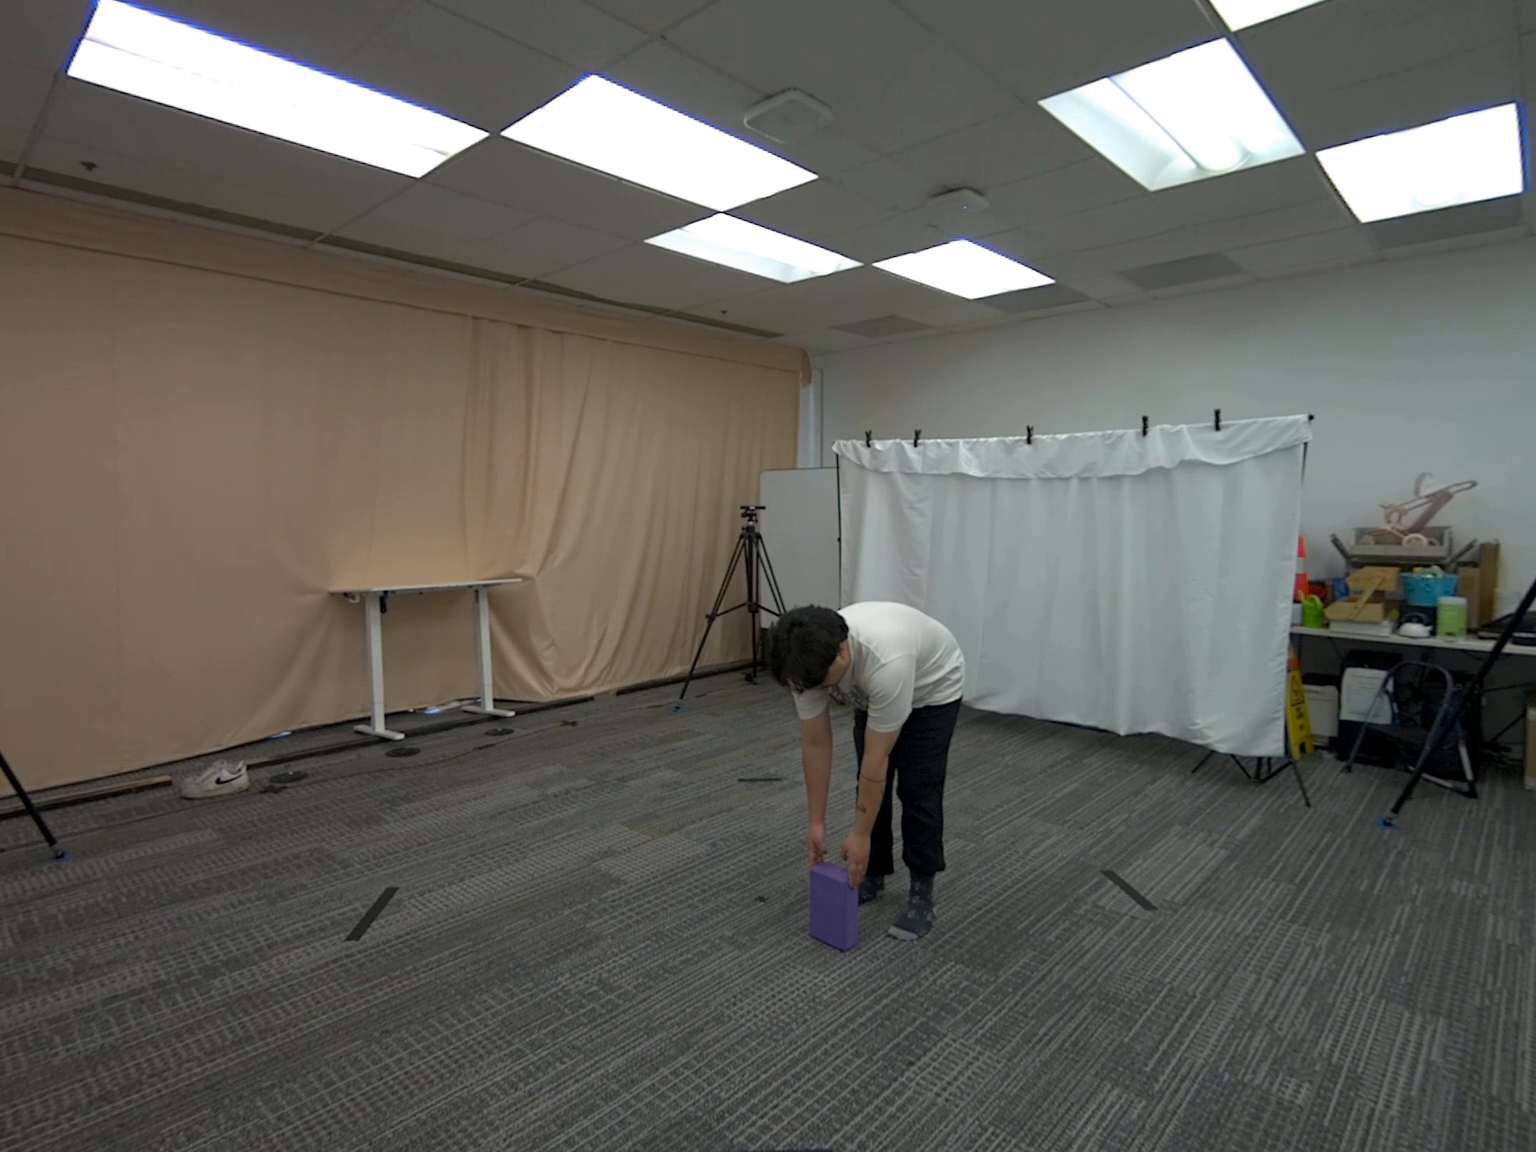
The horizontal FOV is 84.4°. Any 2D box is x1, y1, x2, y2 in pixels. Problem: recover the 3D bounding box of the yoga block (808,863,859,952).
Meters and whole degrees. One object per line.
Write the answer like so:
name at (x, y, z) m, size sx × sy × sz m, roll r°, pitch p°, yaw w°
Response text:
yoga block at (0.219, 1.058, 2.687) m, size 0.154 × 0.229 × 0.074 m, roll 5°, pitch 4°, yaw 42°
